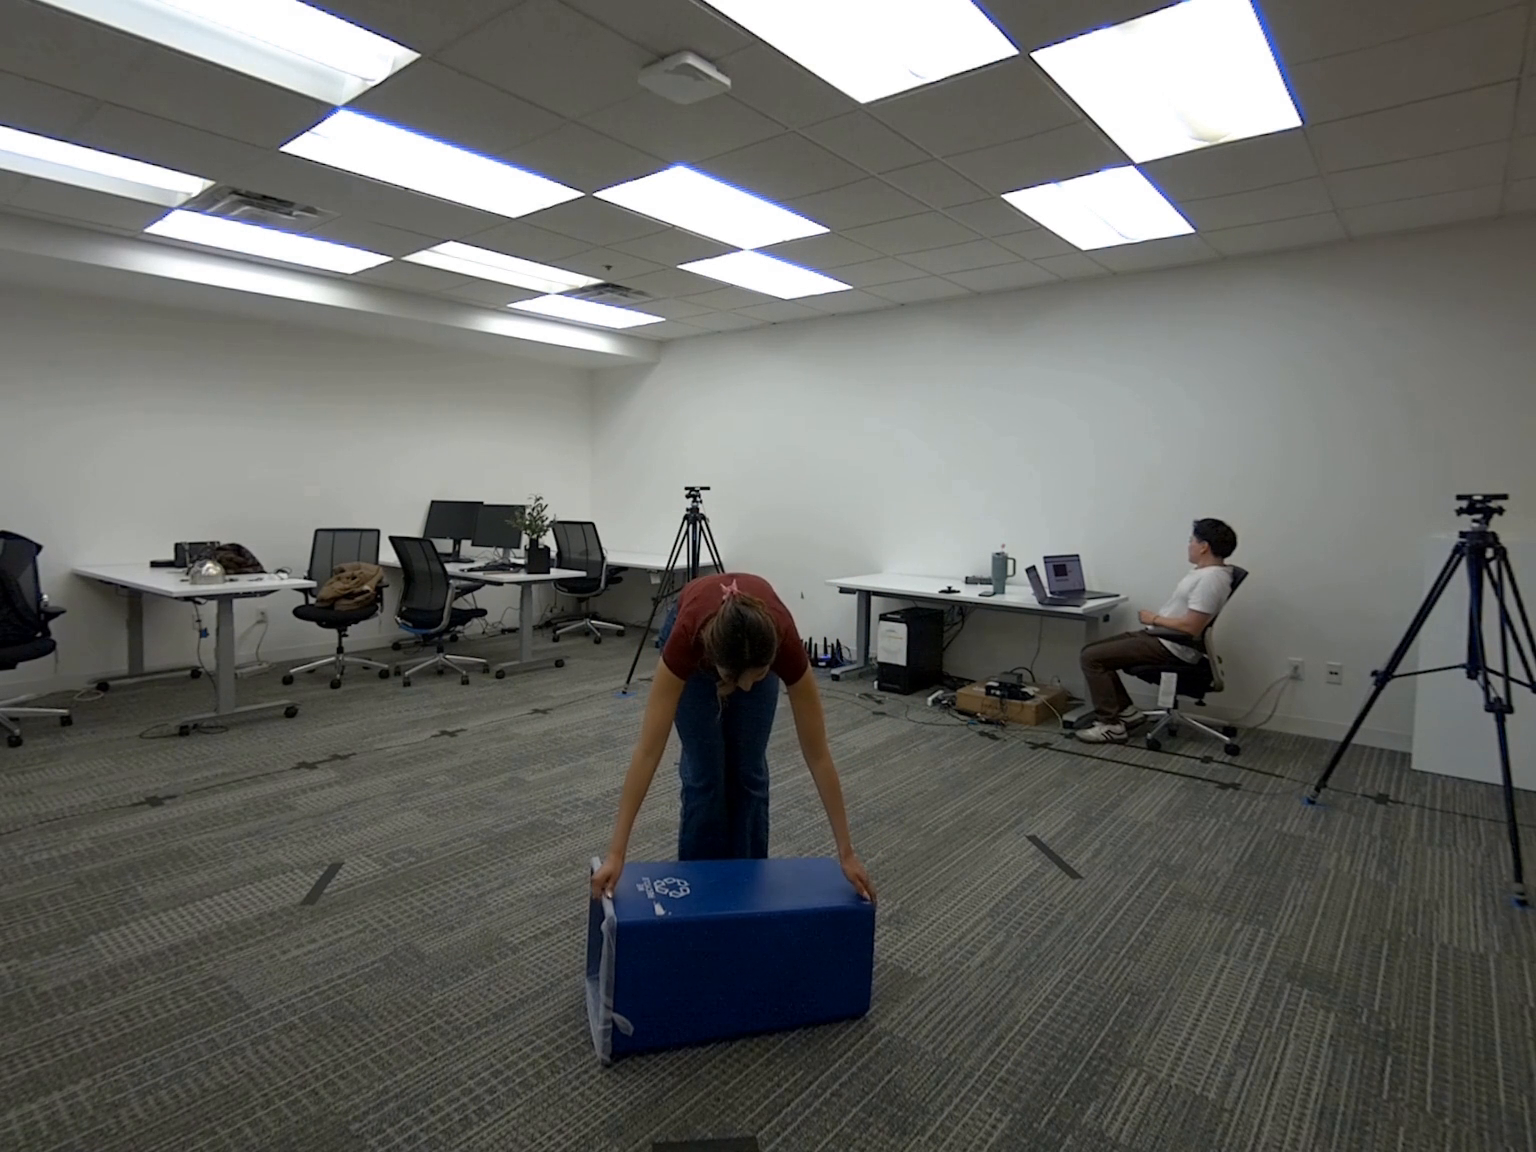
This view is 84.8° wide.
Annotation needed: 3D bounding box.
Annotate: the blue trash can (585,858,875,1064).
[{"bbox_3d":[-0.119,0.981,2.285,0.701,0.377,0.381,2,3,-16],"label":"blue trash can"}]
